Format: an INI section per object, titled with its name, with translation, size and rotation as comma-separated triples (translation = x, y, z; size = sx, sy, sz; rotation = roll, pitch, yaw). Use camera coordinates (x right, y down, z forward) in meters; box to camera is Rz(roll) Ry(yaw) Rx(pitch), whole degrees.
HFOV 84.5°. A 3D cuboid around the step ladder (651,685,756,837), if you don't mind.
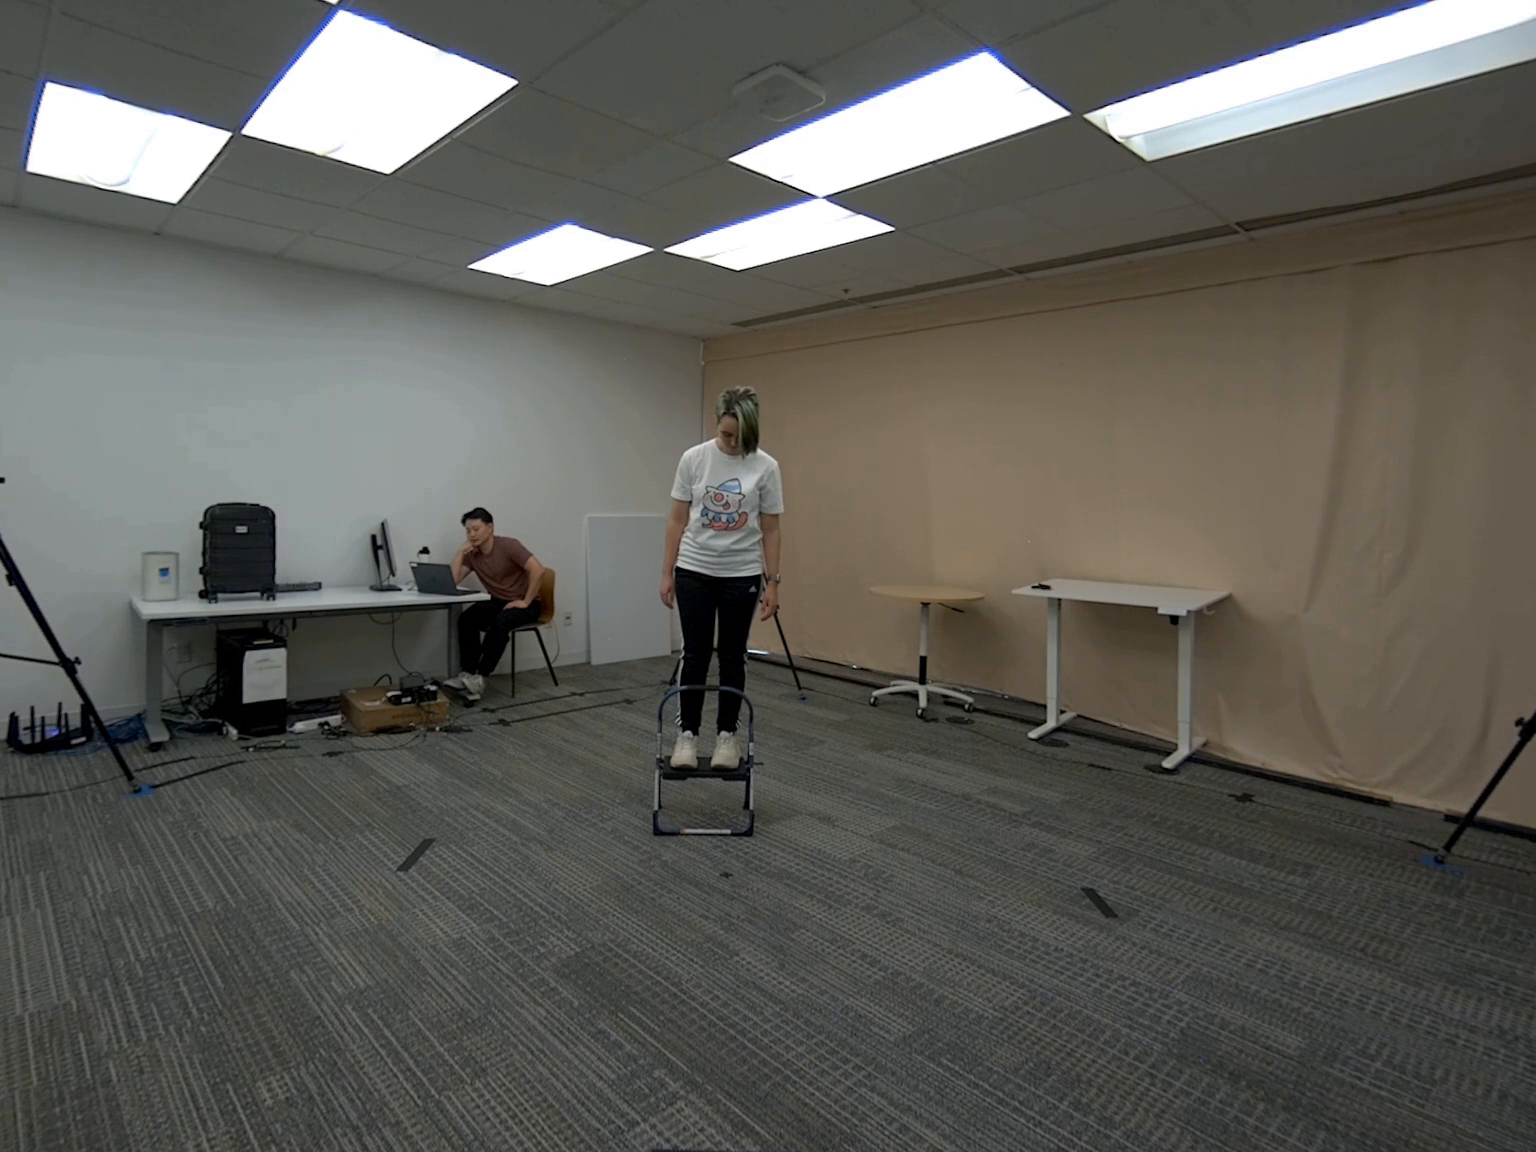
[step ladder]
translation = -0.281, 0.758, 3.614
size = 0.429, 0.605, 0.351
rotation = 1, 2, -4
